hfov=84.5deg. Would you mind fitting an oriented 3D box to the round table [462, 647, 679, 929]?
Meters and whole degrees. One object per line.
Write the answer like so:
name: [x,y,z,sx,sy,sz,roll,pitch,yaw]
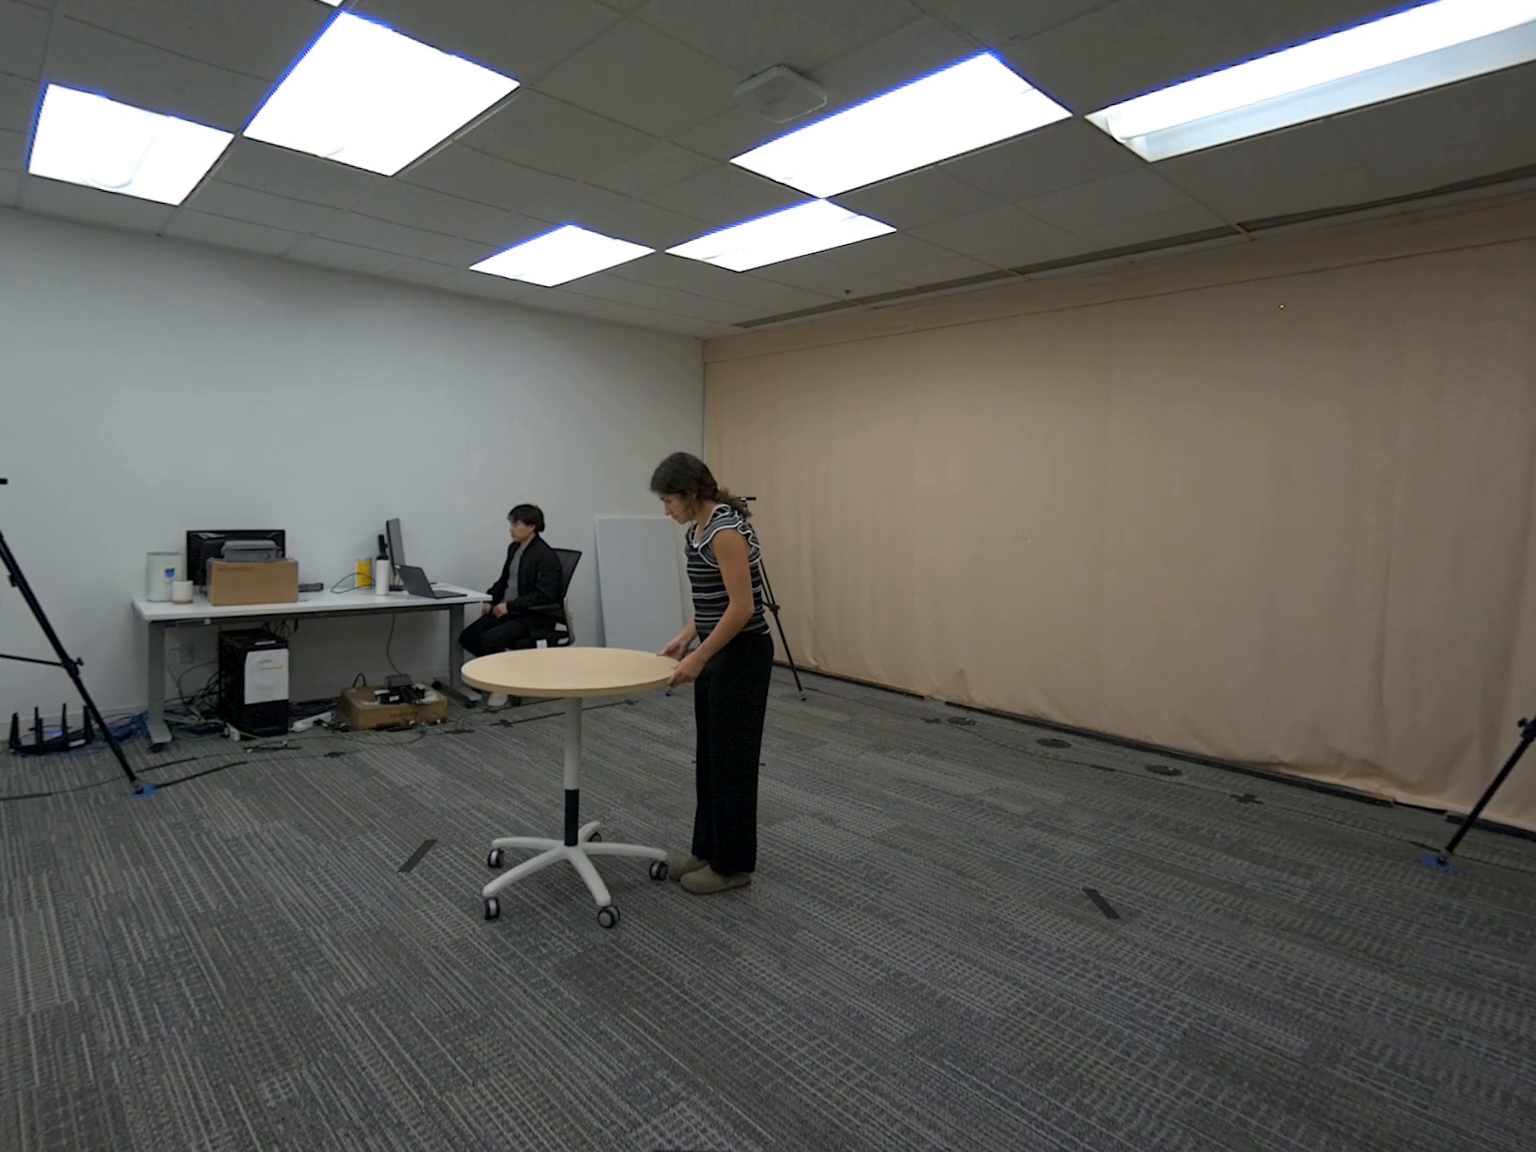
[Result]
round table: [-0.687,0.708,2.998,0.784,0.784,0.787,1,4,-1]
